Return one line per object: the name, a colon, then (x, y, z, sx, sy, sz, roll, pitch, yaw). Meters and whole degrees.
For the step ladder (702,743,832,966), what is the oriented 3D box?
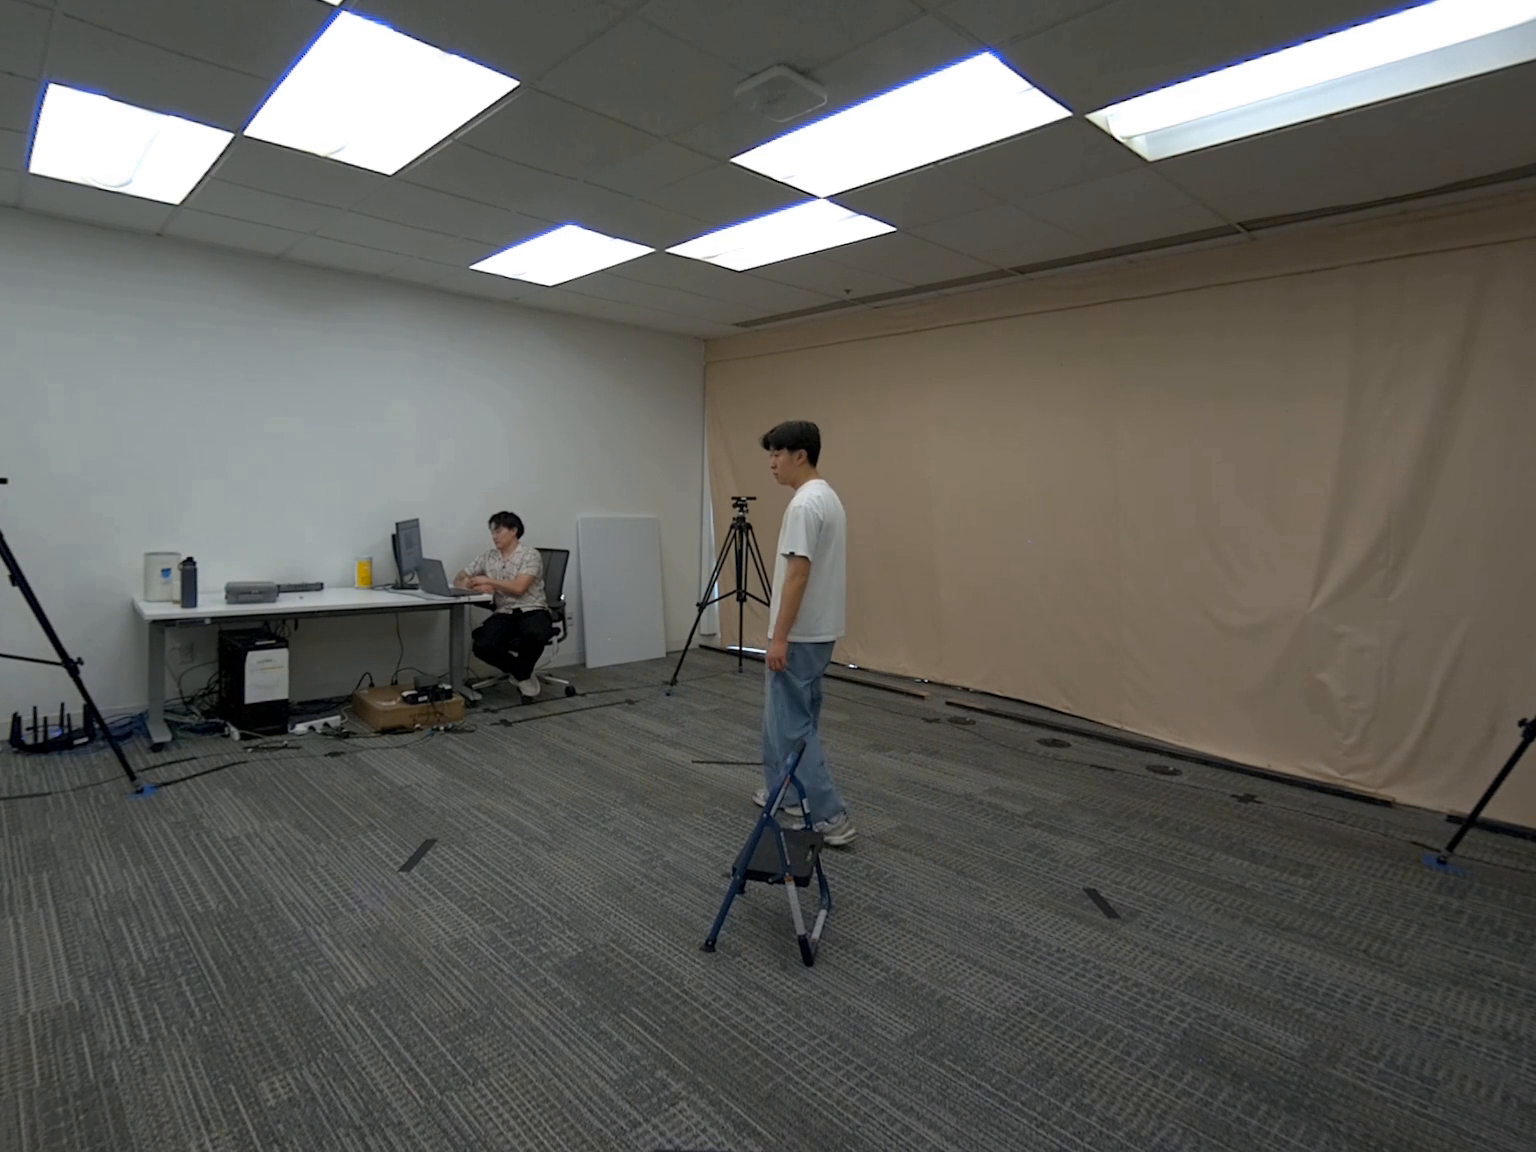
step ladder: (0.009, 0.843, 2.723, 0.353, 0.604, 0.427, 2, 4, 12)
